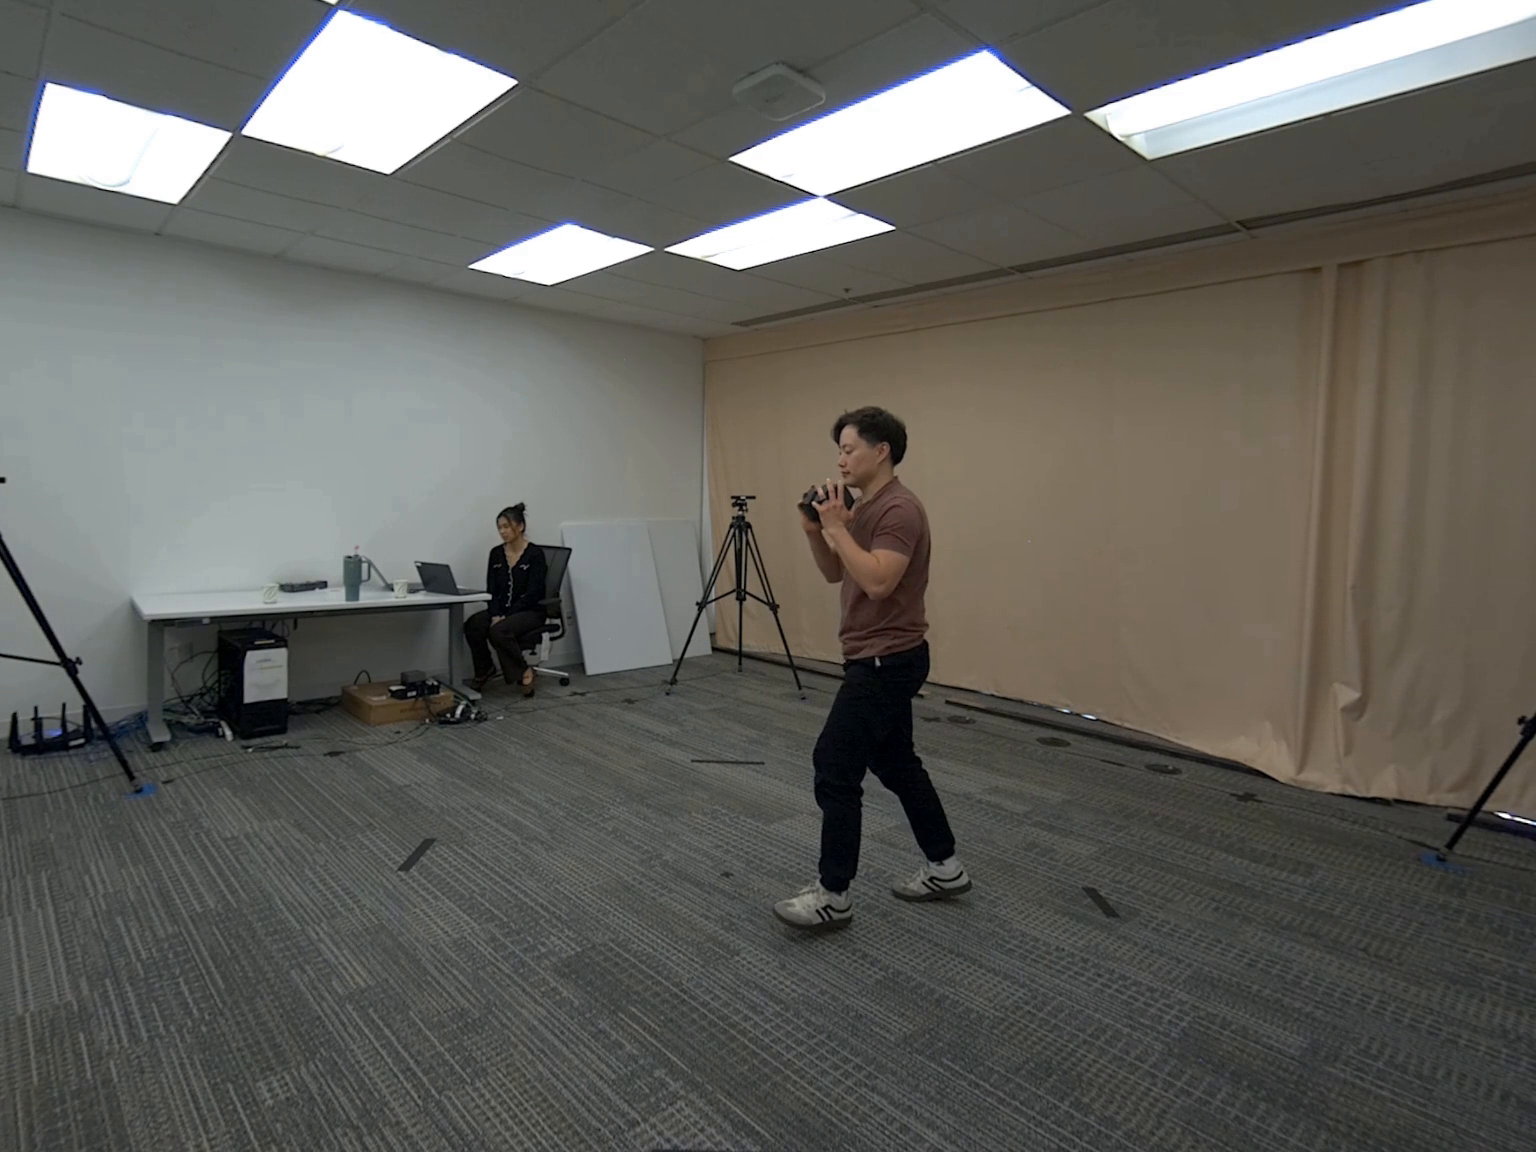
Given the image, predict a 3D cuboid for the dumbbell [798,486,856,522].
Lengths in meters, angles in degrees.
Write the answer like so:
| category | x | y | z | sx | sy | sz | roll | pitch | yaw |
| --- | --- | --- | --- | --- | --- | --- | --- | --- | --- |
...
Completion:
| category | x | y | z | sx | sy | sz | roll | pitch | yaw |
| --- | --- | --- | --- | --- | --- | --- | --- | --- | --- |
| dumbbell | 0.201 | -0.224 | 2.782 | 0.122 | 0.109 | 0.295 | 3 | 1 | -7 |
